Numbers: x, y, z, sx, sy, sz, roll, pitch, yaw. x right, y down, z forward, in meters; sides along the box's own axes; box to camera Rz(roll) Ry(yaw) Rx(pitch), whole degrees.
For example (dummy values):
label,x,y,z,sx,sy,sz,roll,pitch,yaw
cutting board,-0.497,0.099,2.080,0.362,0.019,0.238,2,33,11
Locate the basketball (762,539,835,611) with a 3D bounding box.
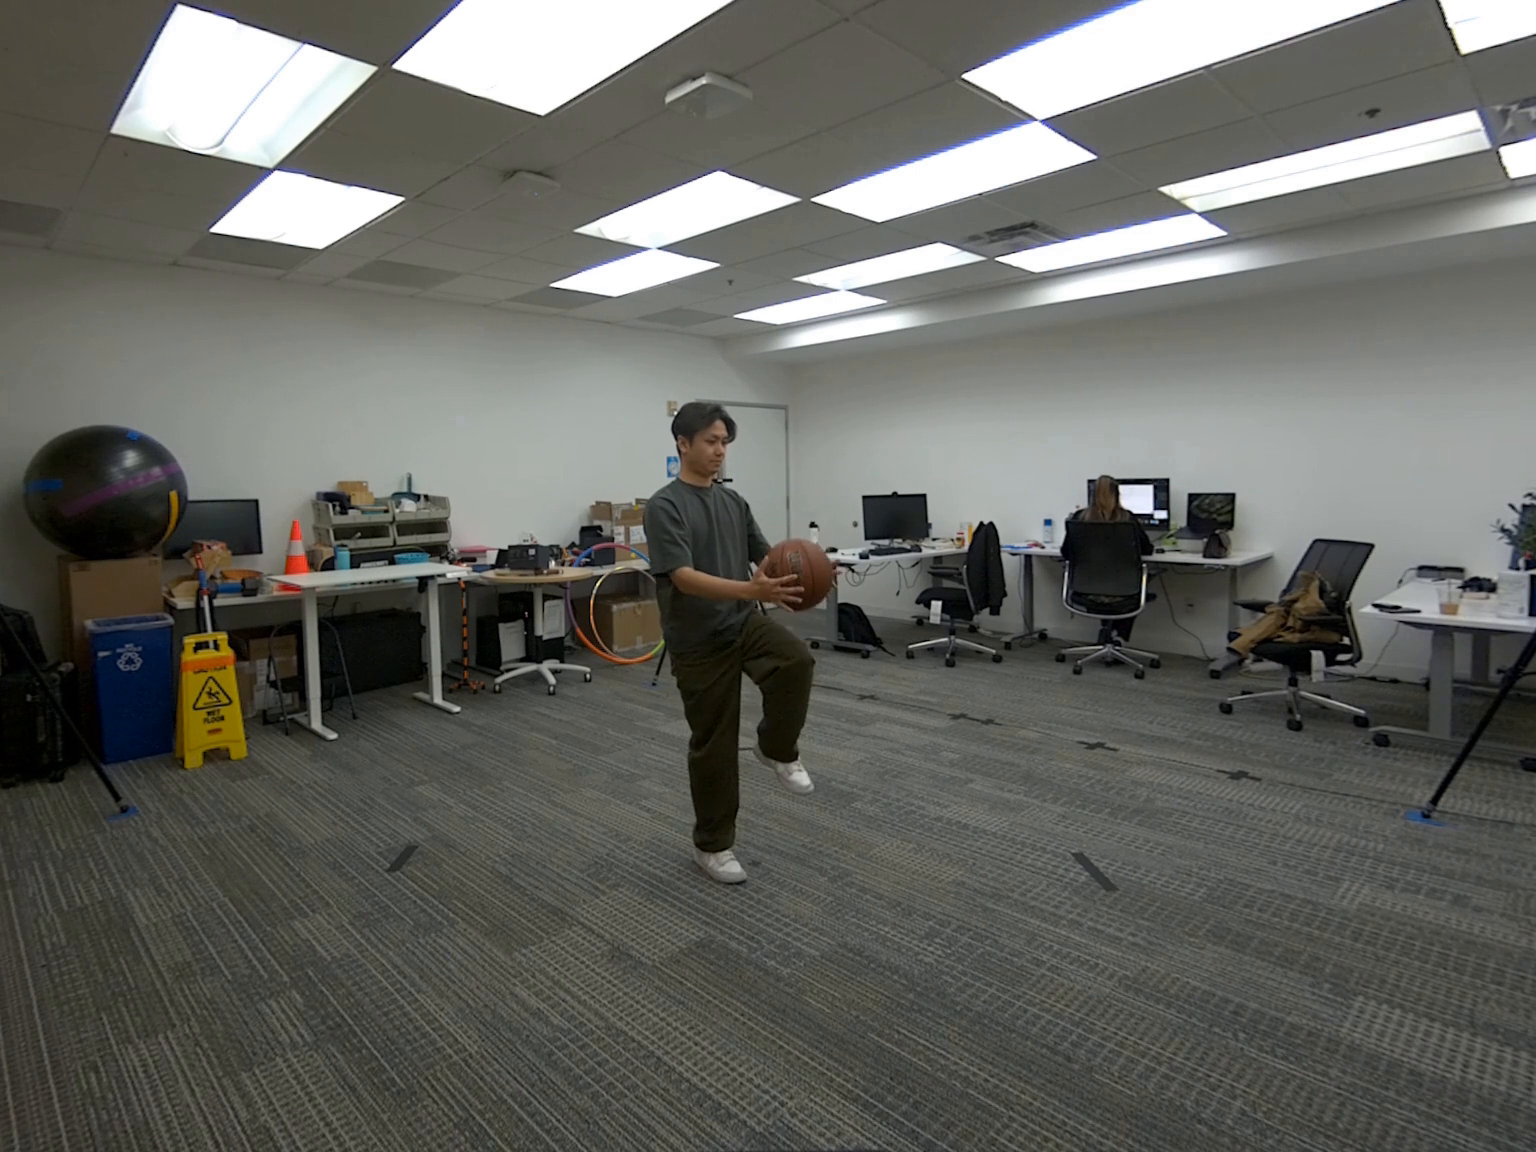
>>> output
label,x,y,z,sx,sy,sz,roll,pitch,yaw
basketball,0.100,-0.036,2.791,0.236,0.235,0.237,-1,5,-2
